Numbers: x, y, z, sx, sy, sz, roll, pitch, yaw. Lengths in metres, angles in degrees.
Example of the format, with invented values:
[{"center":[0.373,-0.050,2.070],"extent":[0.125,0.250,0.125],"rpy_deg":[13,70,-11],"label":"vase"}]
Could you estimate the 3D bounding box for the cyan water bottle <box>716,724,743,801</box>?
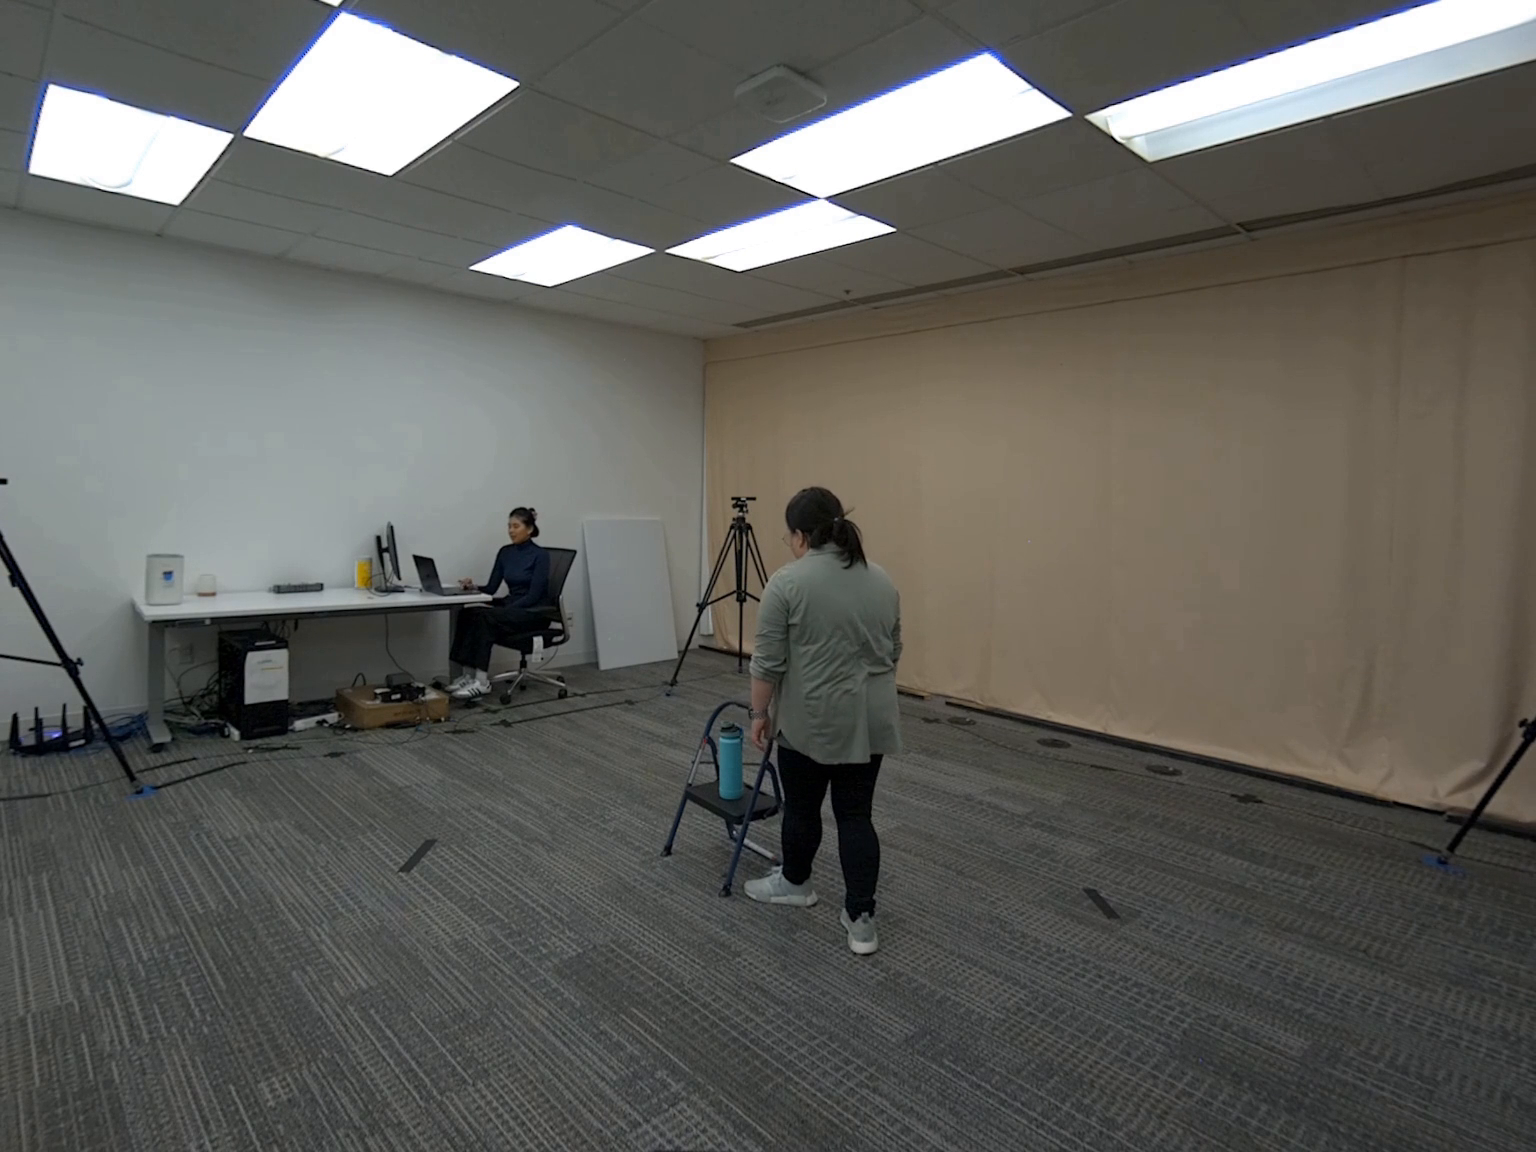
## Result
[{"center":[-0.148,0.697,3.202],"extent":[0.092,0.283,0.092],"rpy_deg":[0,2,-1],"label":"cyan water bottle"}]
